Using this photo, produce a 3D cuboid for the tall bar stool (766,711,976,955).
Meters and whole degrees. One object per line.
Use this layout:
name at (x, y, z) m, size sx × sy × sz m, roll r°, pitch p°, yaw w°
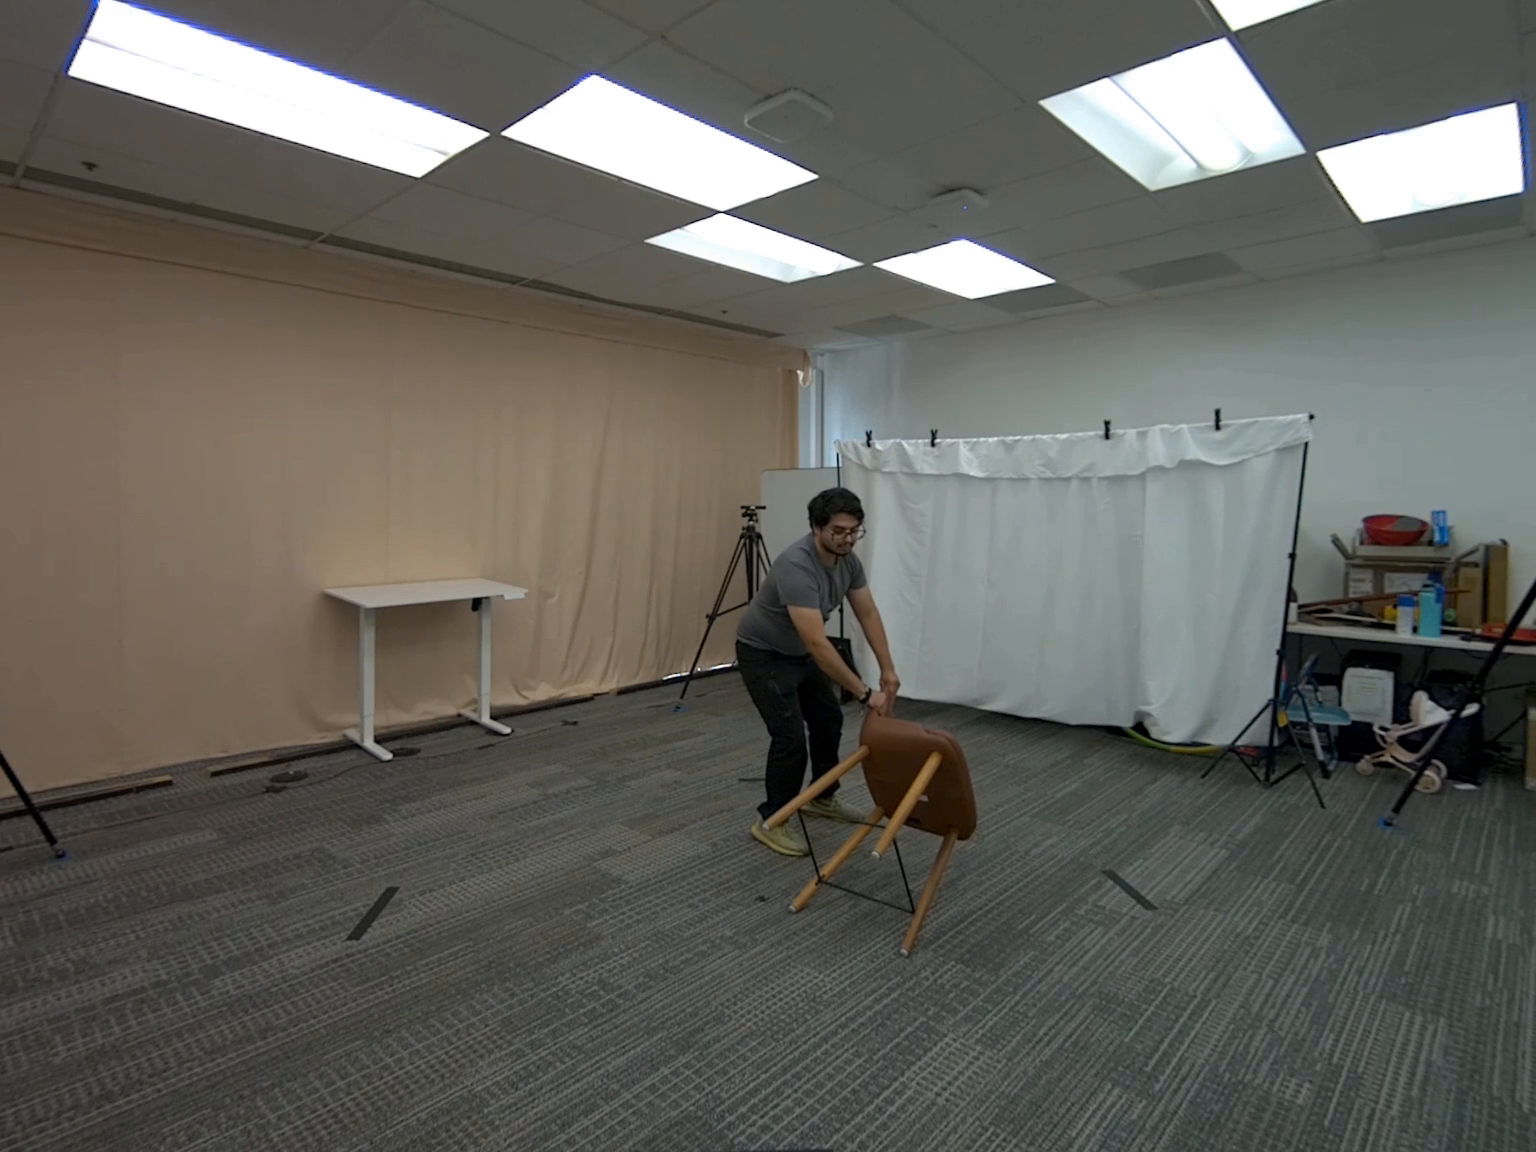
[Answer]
tall bar stool at (0.454, 0.799, 2.972) m, size 0.482 × 0.449 × 0.877 m, roll -1°, pitch 26°, yaw 38°
